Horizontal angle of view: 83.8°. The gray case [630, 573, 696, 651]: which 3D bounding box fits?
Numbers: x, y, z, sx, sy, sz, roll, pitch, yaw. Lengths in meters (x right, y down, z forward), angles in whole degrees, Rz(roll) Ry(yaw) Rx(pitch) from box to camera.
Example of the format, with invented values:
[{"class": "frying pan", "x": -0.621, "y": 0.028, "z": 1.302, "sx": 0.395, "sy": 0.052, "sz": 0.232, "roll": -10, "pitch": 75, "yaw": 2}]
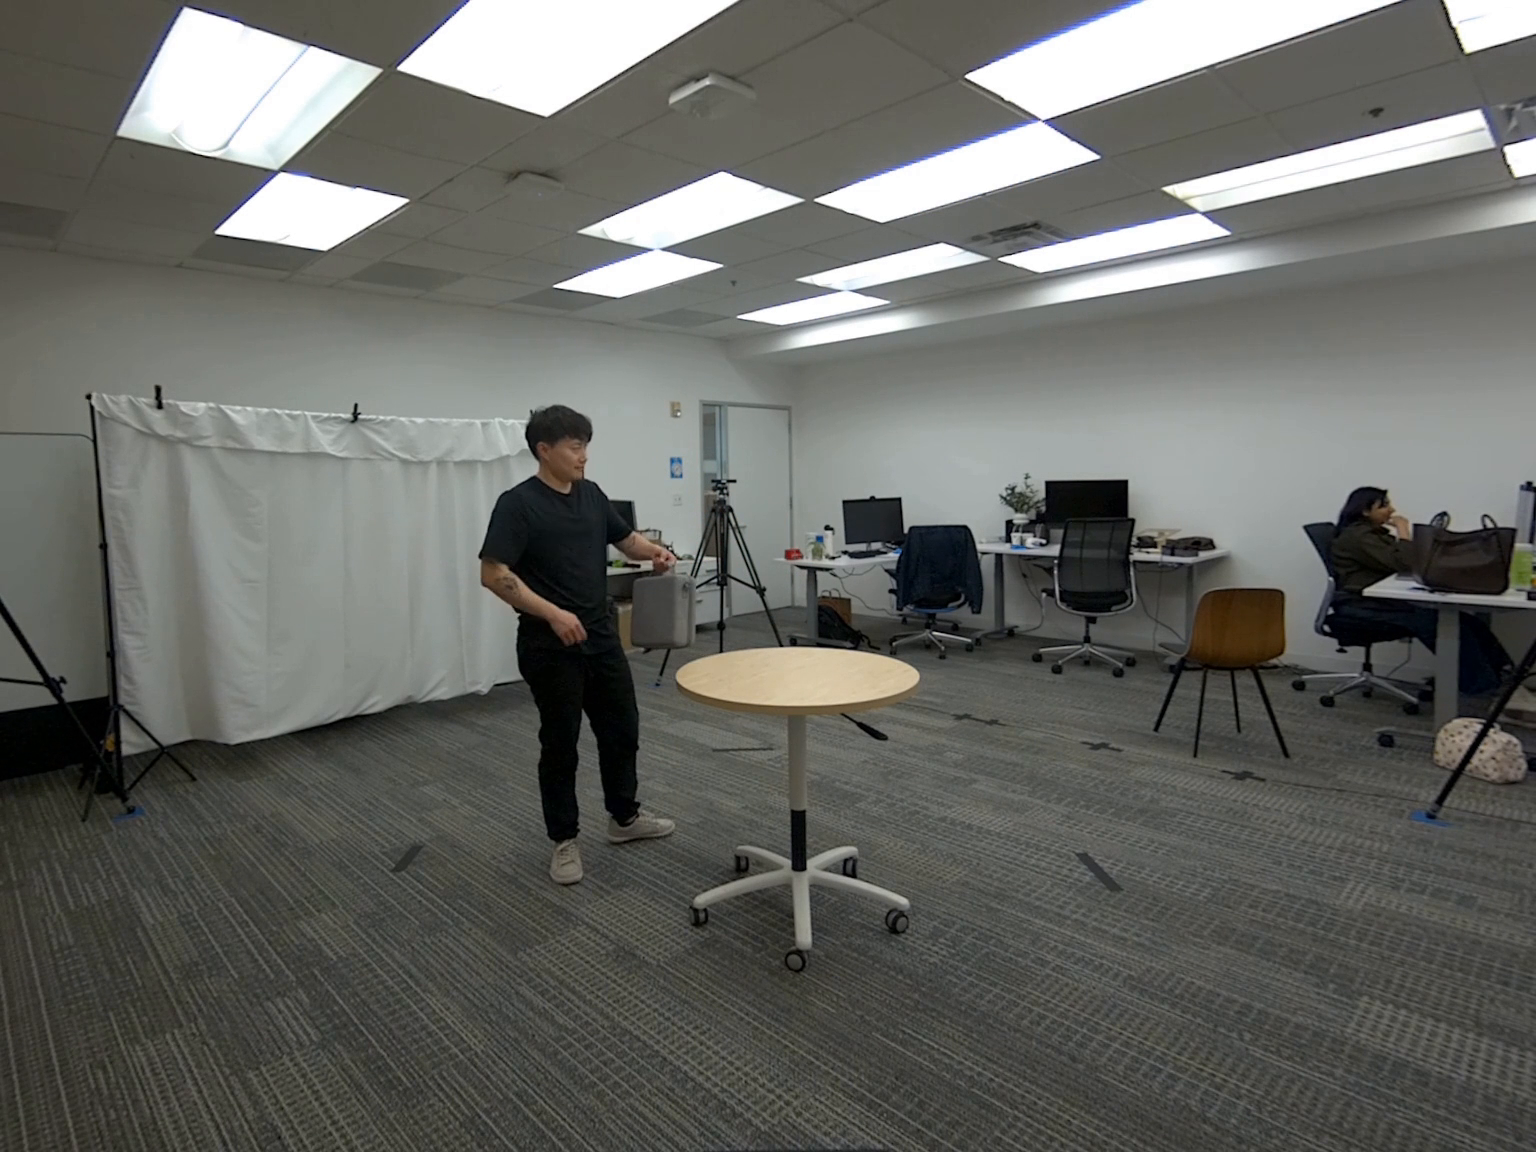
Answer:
[{"class": "gray case", "x": -0.361, "y": 0.123, "z": 3.005, "sx": 0.101, "sy": 0.263, "sz": 0.263, "roll": 9, "pitch": -13, "yaw": -43}]
